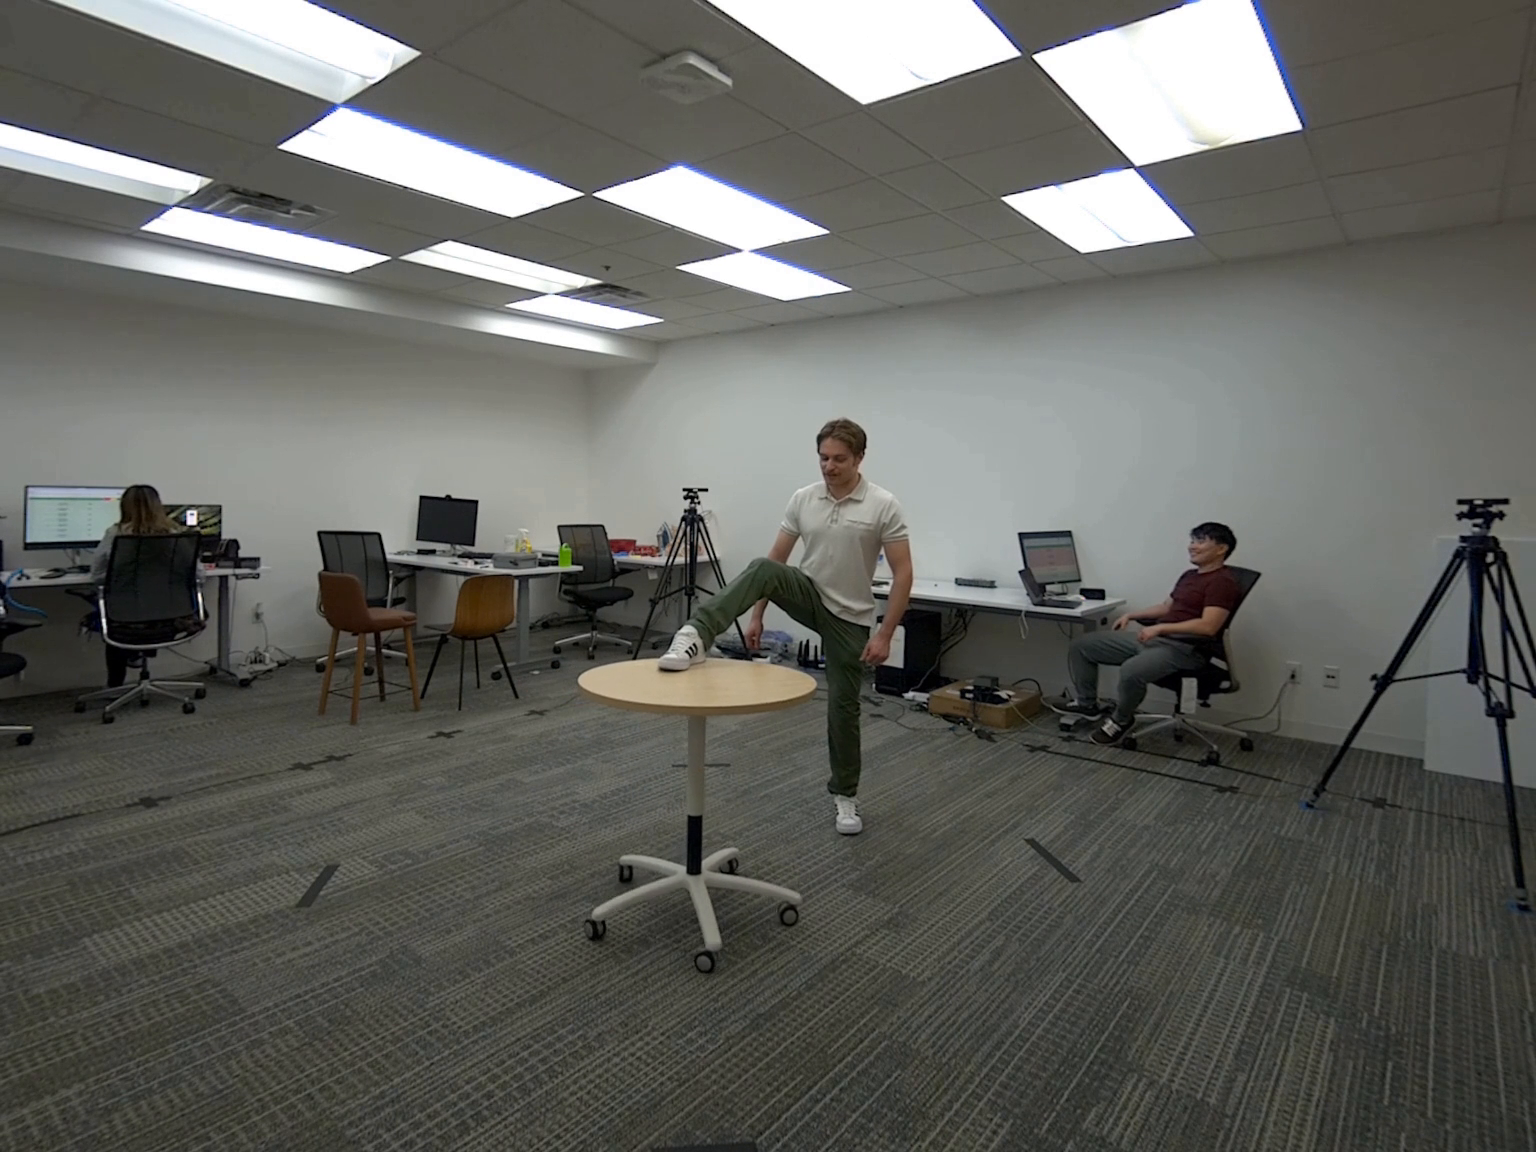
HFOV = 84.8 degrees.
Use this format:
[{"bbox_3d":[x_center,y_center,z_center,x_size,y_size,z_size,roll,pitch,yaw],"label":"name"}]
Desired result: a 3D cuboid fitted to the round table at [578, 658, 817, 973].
[{"bbox_3d":[-0.250,0.718,2.760,0.763,0.792,0.767,1,3,-2],"label":"round table"}]
